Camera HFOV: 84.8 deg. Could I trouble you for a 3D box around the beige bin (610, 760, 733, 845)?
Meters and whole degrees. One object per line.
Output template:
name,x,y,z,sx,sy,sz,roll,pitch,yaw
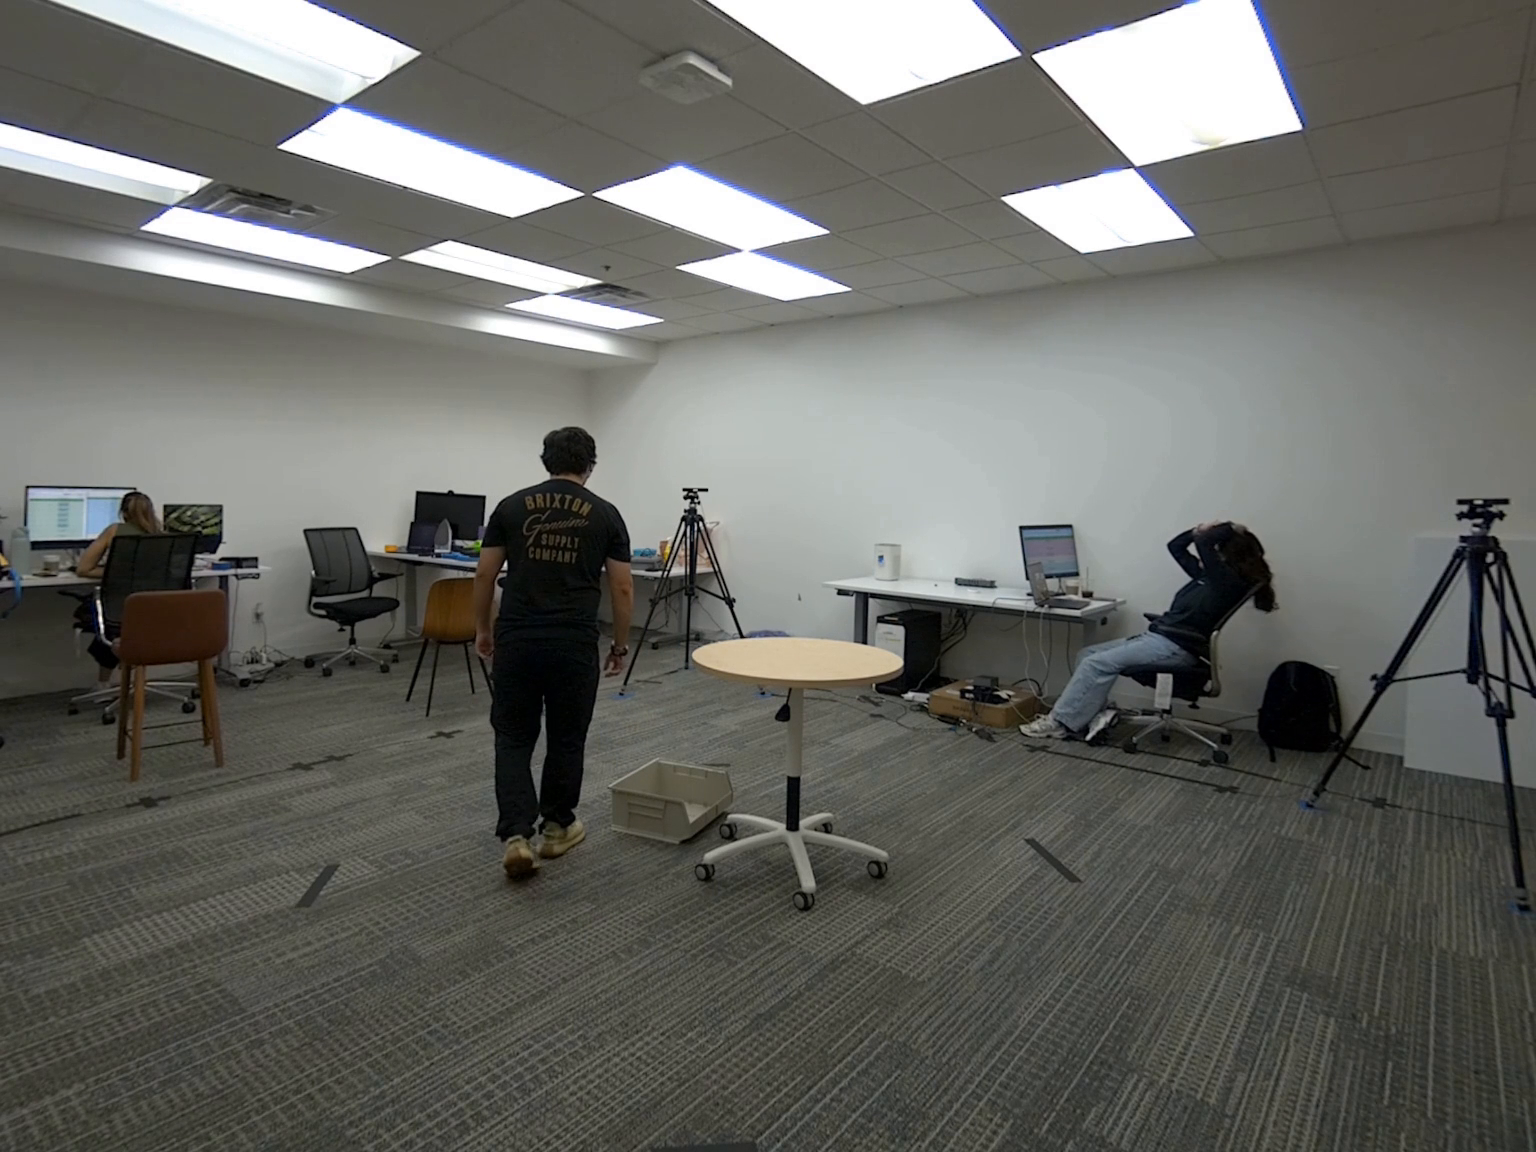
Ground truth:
beige bin,-0.411,0.933,3.564,0.387,0.188,0.414,2,6,23
